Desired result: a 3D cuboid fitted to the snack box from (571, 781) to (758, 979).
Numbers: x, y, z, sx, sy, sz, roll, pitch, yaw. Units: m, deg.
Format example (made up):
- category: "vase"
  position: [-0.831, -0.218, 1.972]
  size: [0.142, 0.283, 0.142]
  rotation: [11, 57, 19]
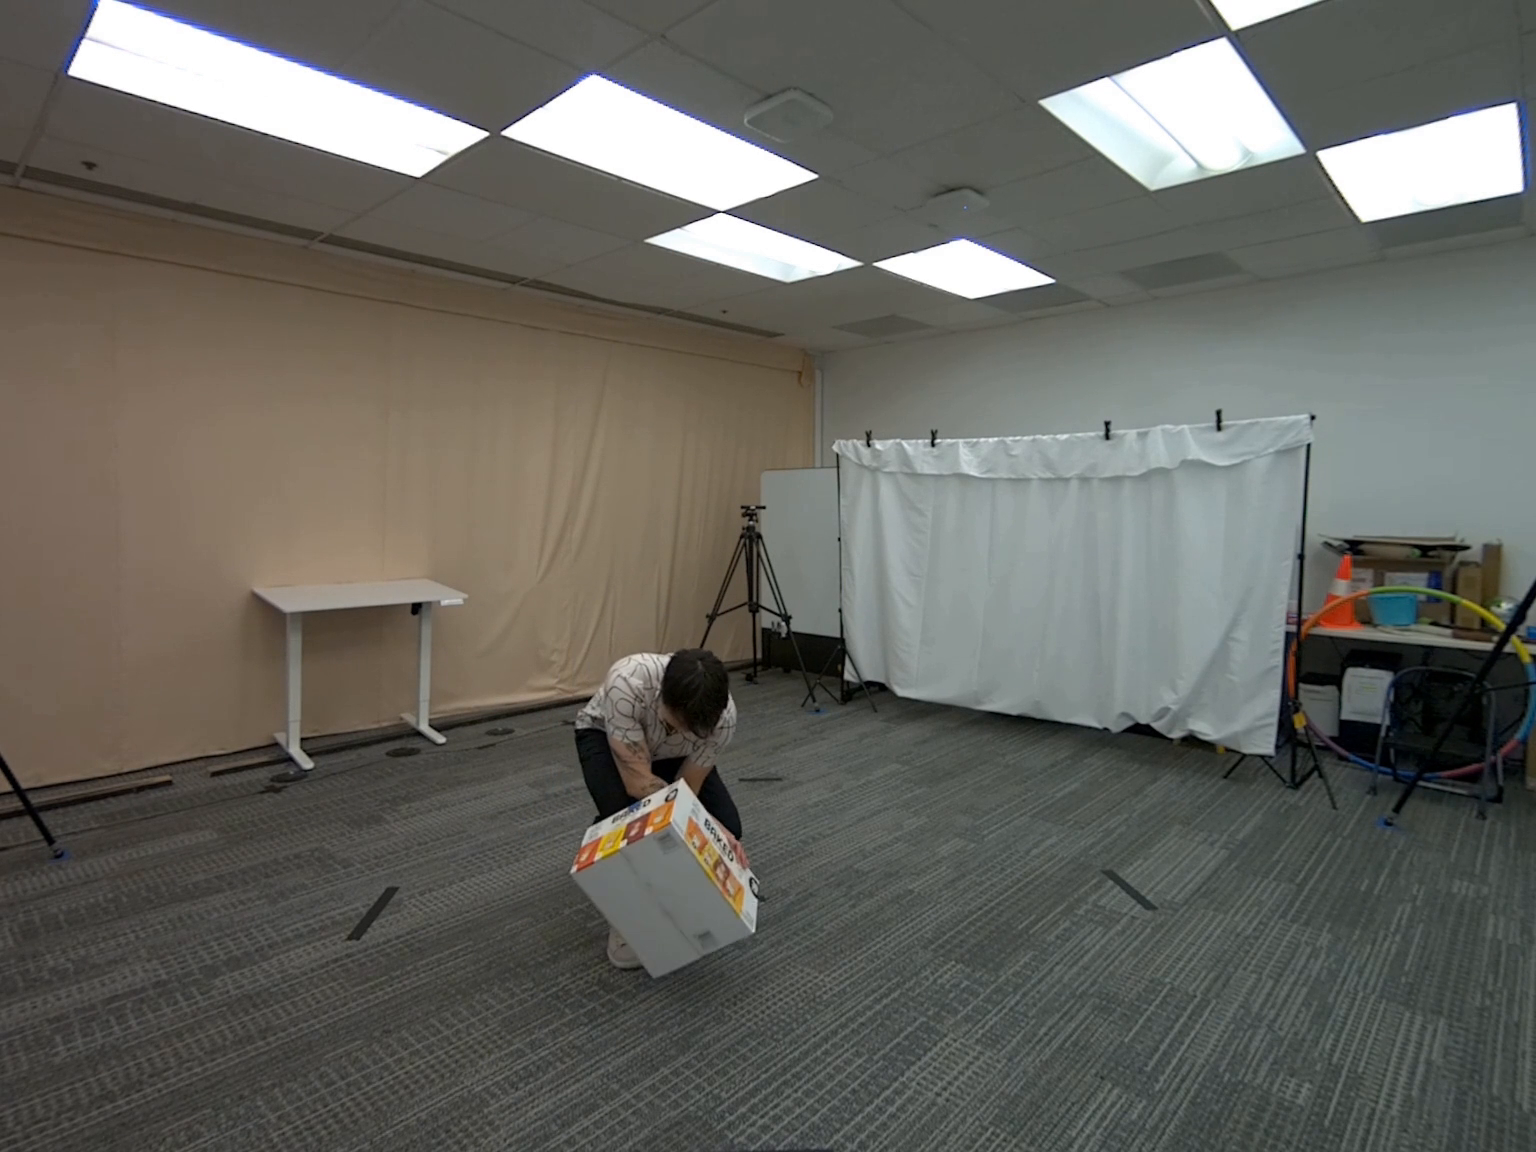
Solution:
- category: "snack box"
  position: [-0.280, 0.843, 2.348]
  size: [0.343, 0.400, 0.207]
  rotation: [-30, 13, 14]
